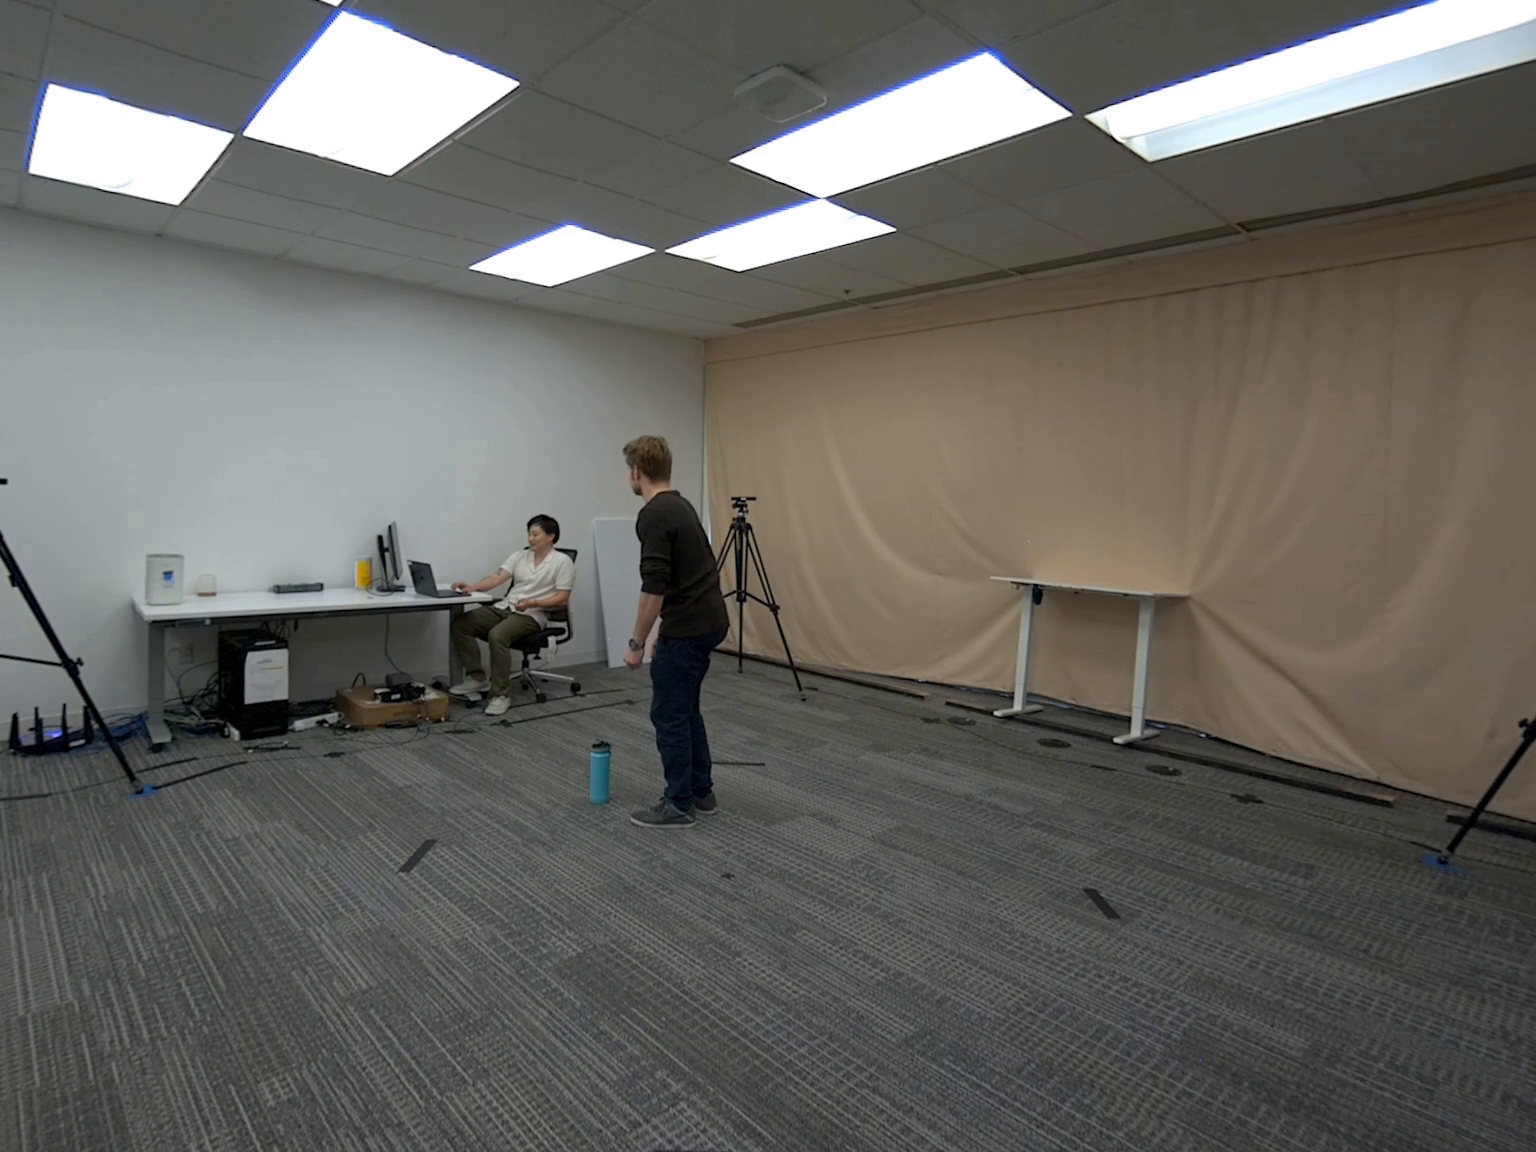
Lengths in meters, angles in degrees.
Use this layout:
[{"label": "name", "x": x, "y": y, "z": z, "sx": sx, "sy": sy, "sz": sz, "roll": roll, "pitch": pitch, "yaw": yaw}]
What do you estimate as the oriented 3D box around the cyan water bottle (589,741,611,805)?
[{"label": "cyan water bottle", "x": -0.772, "y": 0.882, "z": 3.844, "sx": 0.092, "sy": 0.283, "sz": 0.092, "roll": 2, "pitch": 3, "yaw": -2}]
